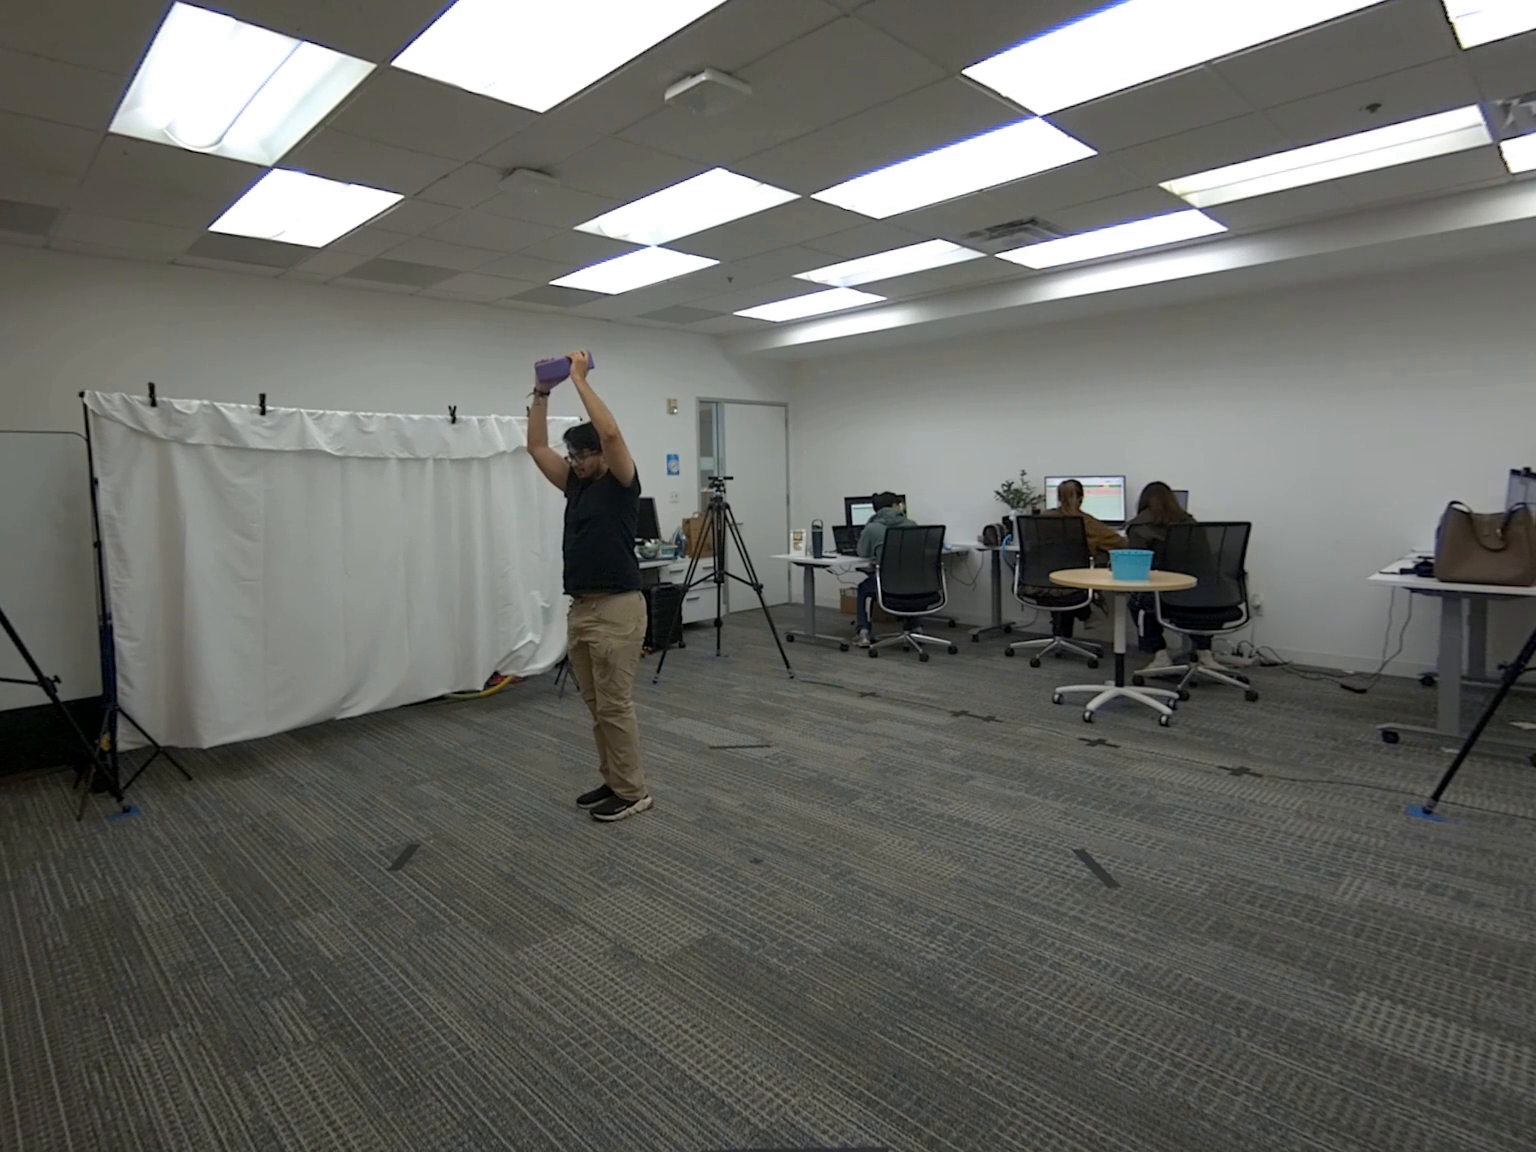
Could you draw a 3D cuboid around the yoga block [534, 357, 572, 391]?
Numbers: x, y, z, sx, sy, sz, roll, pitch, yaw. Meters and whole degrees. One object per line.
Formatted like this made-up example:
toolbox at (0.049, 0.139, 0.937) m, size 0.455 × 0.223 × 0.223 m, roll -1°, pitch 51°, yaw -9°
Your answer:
yoga block at (-0.843, -0.868, 3.536) m, size 0.236 × 0.075 × 0.147 m, roll 3°, pitch 23°, yaw 46°
